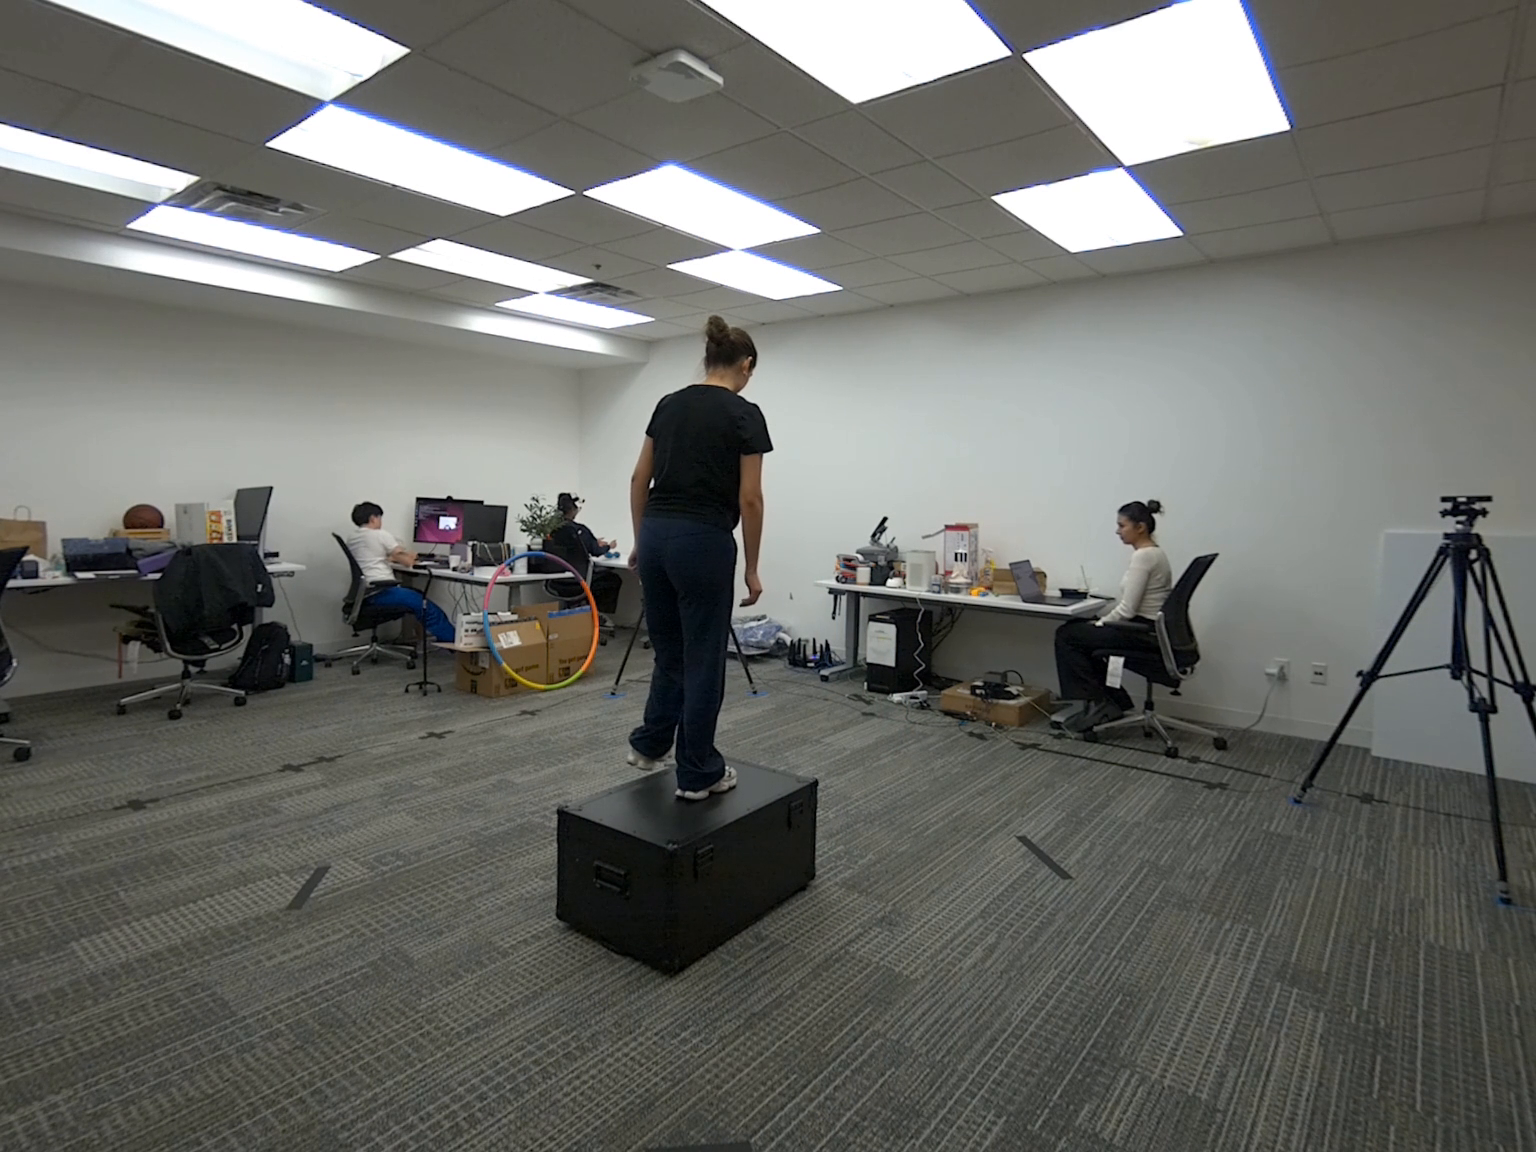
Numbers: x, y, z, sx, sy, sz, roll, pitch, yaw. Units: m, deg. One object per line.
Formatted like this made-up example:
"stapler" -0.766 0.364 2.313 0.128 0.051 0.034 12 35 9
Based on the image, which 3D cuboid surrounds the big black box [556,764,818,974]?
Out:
"big black box" -0.215 0.900 2.867 0.538 0.394 0.837 5 7 36
